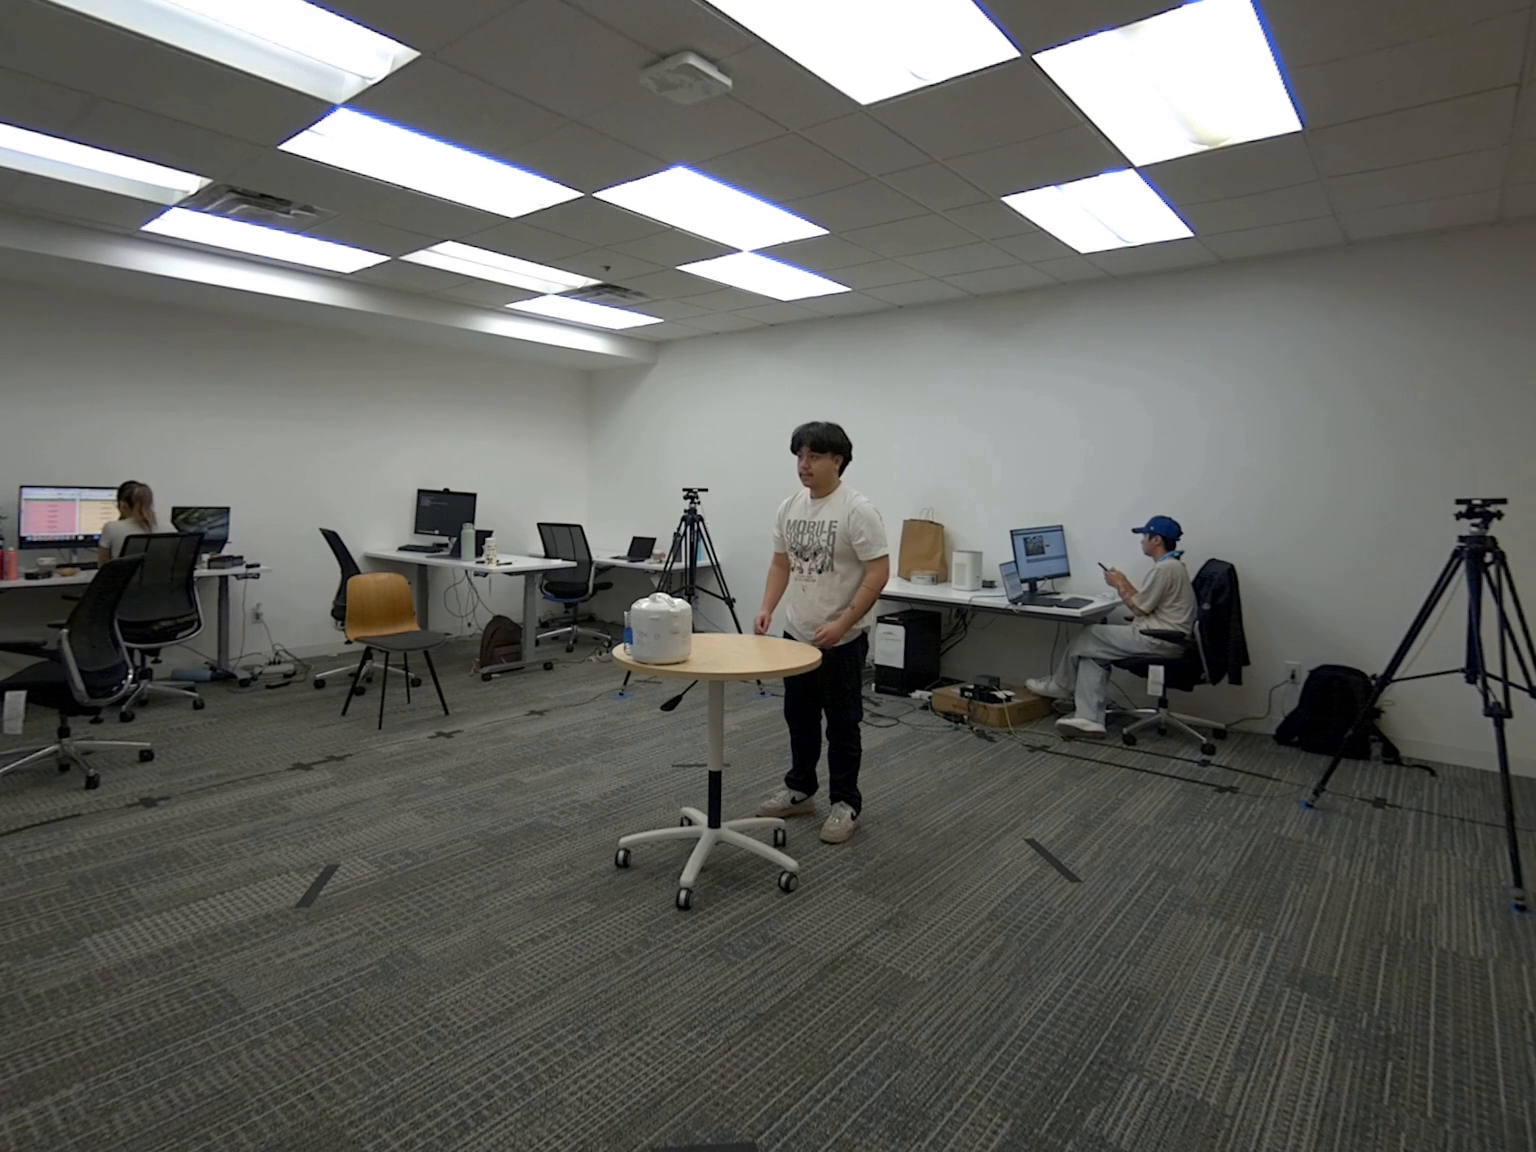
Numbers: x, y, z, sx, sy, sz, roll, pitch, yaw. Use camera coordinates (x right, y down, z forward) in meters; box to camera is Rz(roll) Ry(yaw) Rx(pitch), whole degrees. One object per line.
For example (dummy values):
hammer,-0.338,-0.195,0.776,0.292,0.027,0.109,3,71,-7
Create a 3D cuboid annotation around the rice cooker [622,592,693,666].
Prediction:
rice cooker,-0.378,0.173,2.930,0.212,0.232,0.227,-4,6,-32
